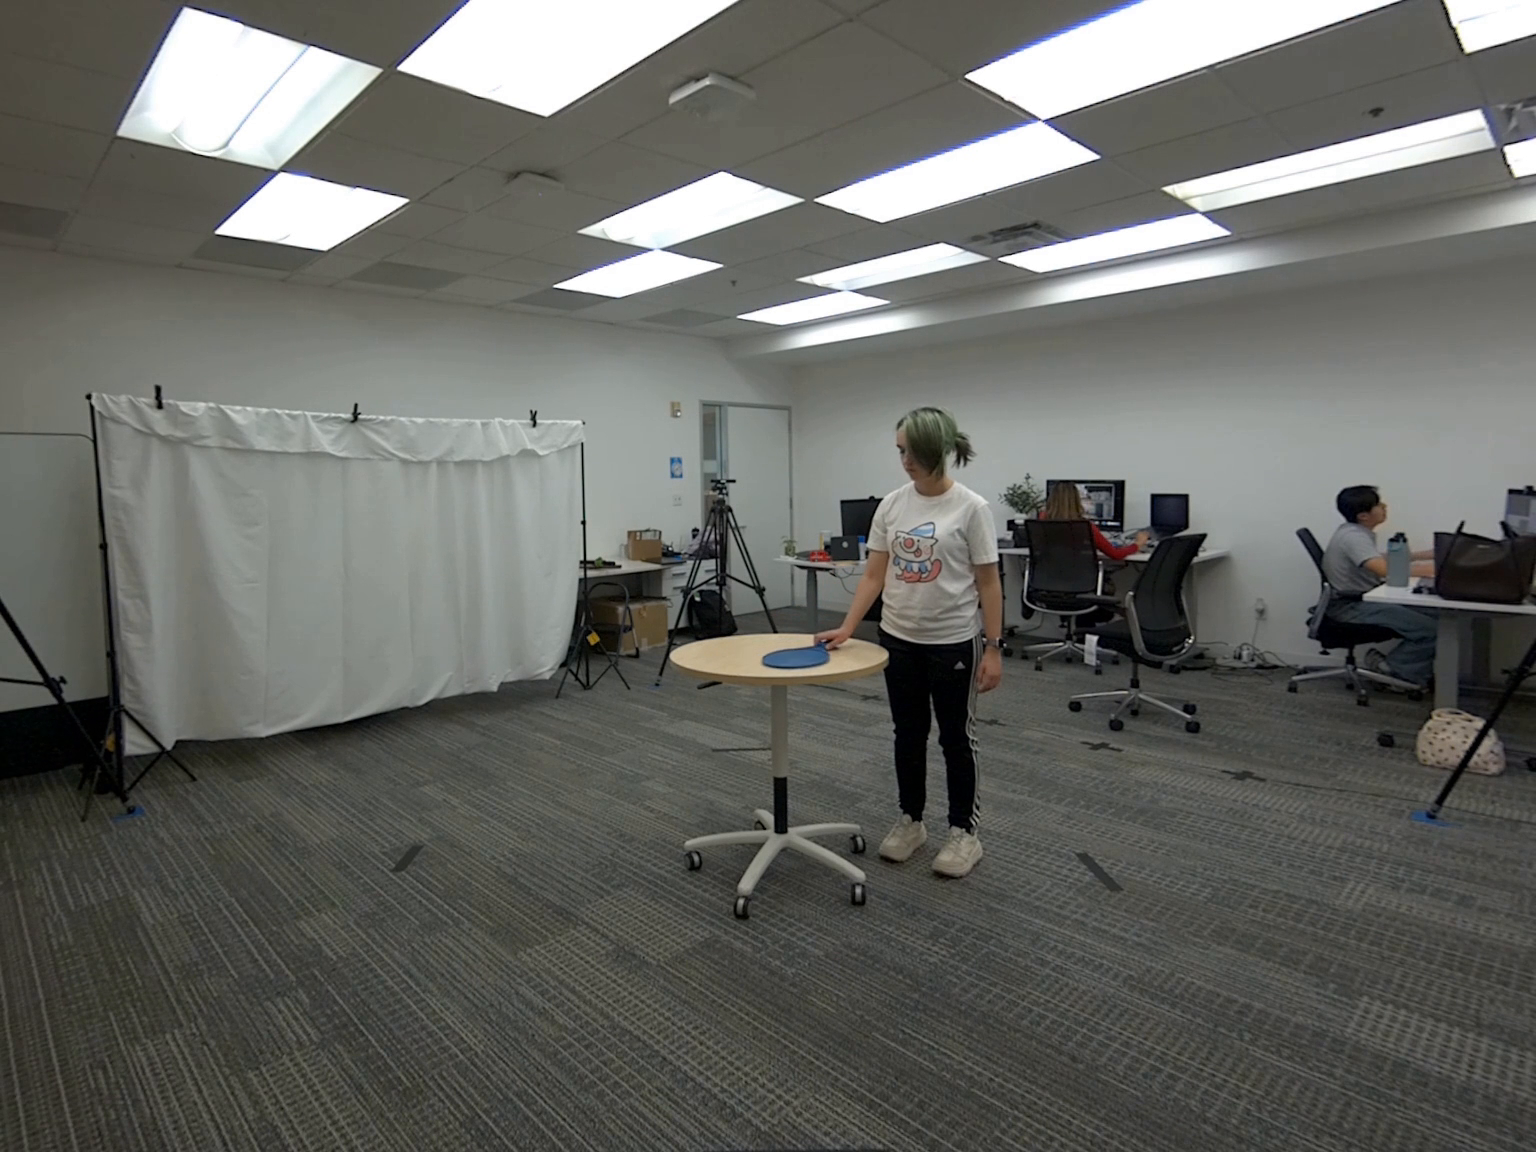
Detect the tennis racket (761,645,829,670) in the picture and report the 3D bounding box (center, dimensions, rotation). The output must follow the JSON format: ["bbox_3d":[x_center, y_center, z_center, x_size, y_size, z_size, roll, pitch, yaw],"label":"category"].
[{"bbox_3d":[0.135,0.274,2.930,0.219,0.031,0.423,2,8,31],"label":"tennis racket"}]
